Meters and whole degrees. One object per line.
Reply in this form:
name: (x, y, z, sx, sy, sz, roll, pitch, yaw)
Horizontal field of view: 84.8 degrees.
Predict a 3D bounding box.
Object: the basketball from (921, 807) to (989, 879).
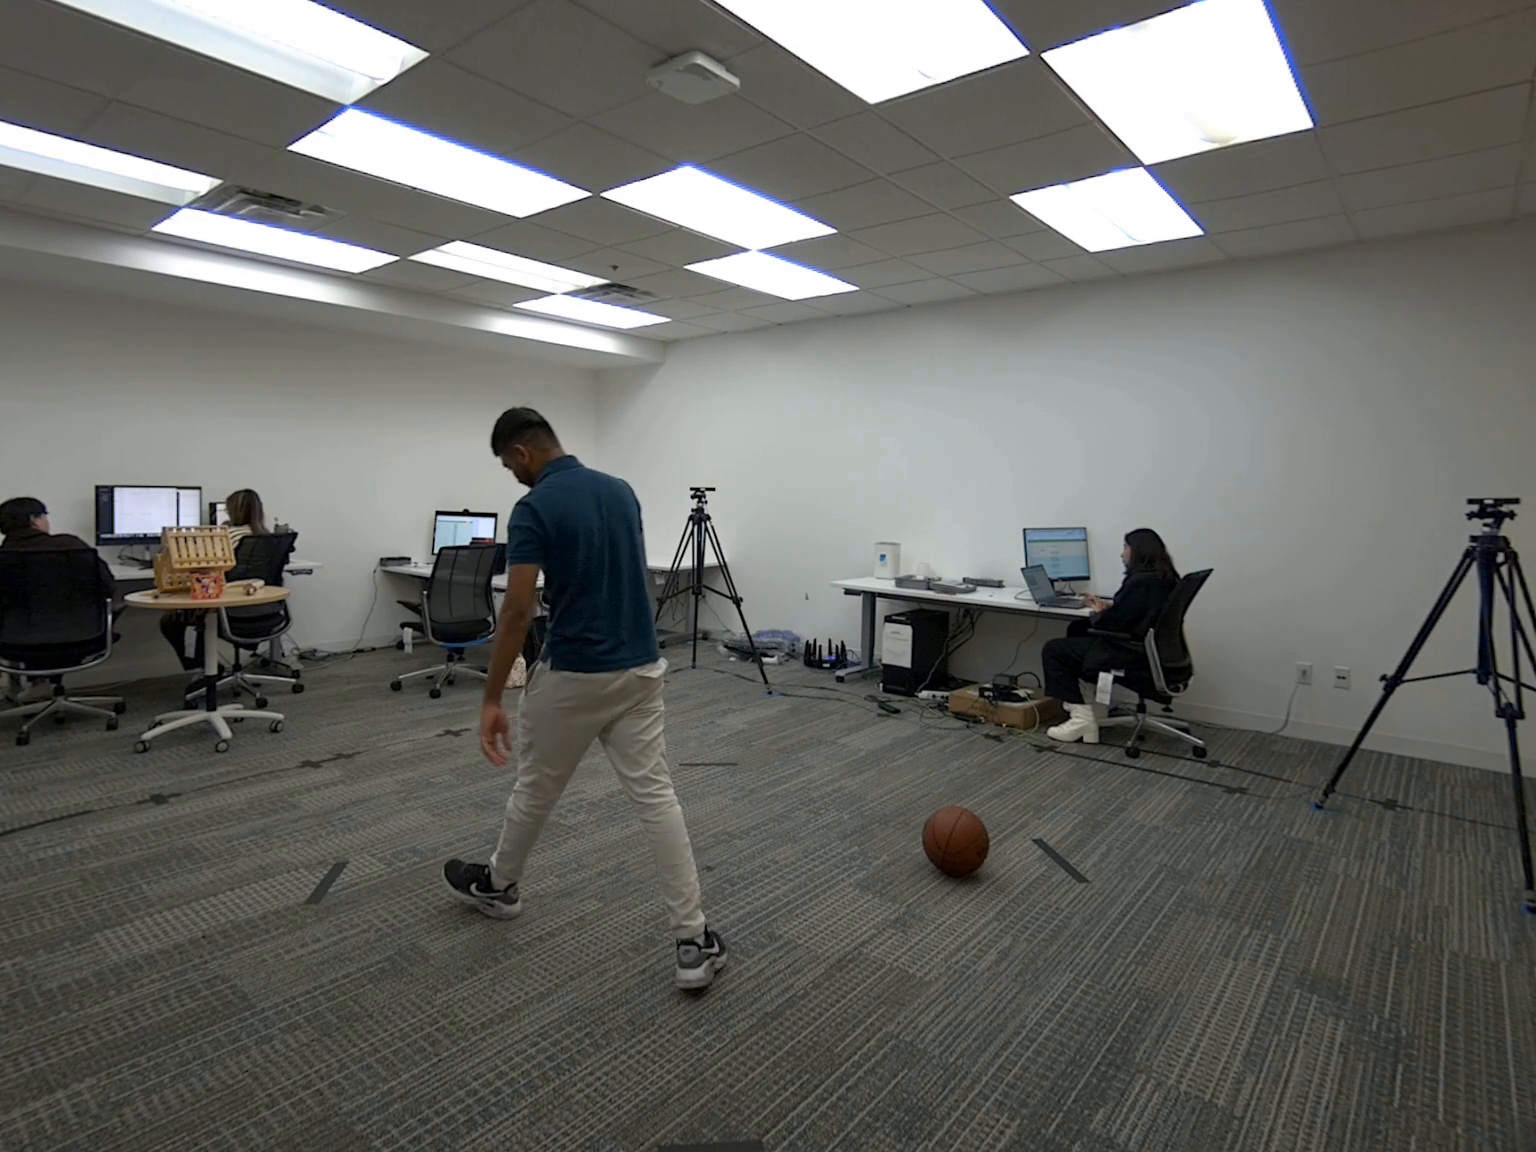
basketball: (0.683, 0.963, 3.128, 0.235, 0.235, 0.237, 1, 4, -2)
